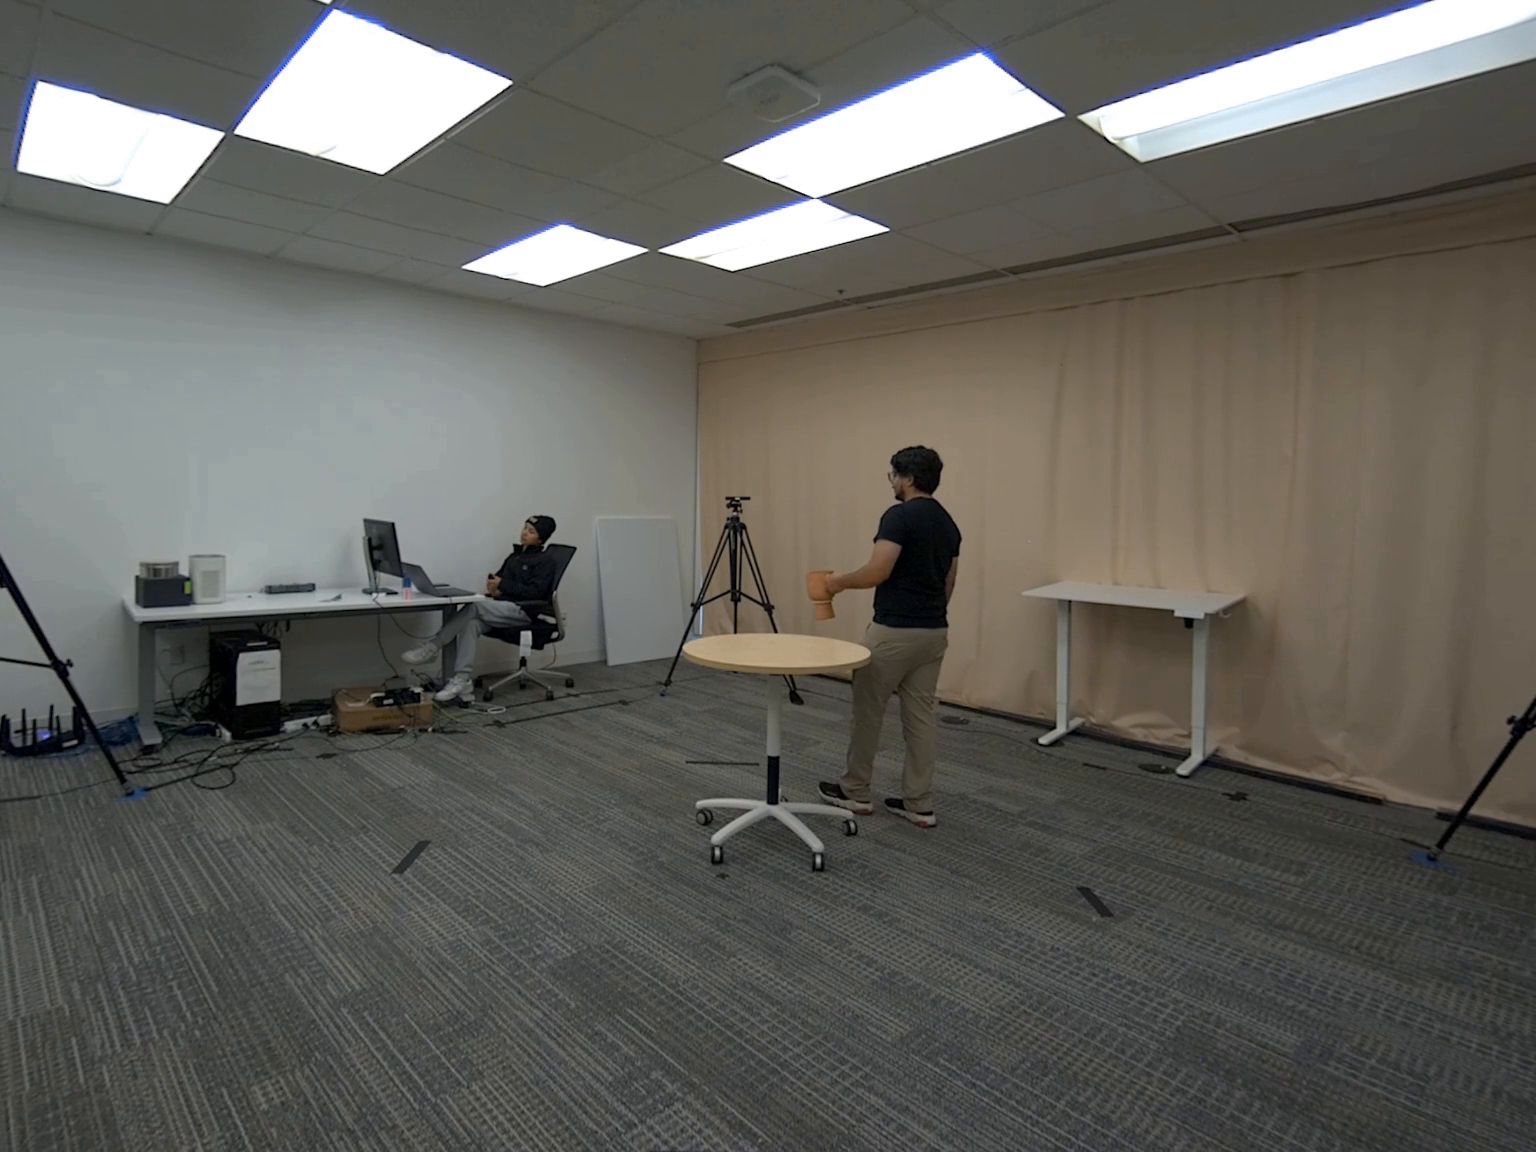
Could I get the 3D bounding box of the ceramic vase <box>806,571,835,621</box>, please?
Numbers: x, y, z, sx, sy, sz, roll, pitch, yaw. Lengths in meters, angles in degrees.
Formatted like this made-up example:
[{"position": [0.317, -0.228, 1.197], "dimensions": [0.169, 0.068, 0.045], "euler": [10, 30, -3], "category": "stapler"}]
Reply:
[{"position": [0.249, 0.089, 3.945], "dimensions": [0.136, 0.220, 0.157], "euler": [-7, 0, 13], "category": "ceramic vase"}]
